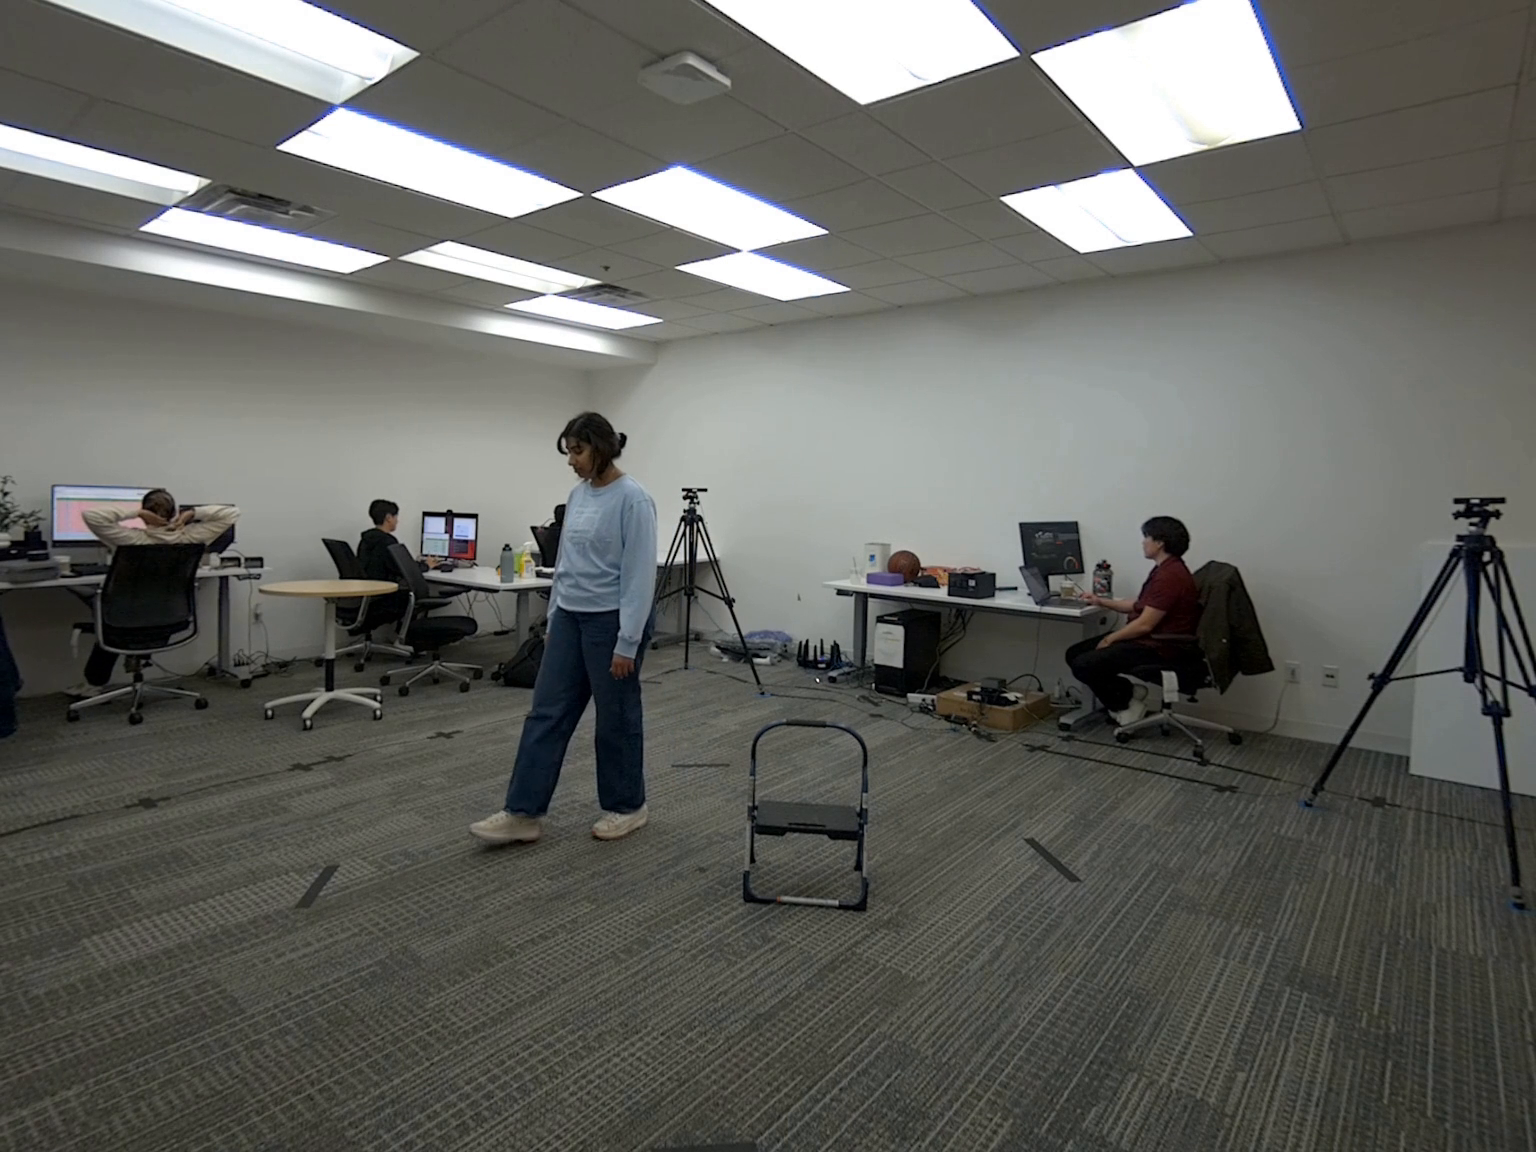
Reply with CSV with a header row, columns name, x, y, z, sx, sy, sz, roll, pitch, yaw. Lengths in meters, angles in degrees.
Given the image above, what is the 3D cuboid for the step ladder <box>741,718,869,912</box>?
name,x,y,z,sx,sy,sz,roll,pitch,yaw
step ladder,0.131,0.785,2.991,0.433,0.604,0.348,2,3,4
